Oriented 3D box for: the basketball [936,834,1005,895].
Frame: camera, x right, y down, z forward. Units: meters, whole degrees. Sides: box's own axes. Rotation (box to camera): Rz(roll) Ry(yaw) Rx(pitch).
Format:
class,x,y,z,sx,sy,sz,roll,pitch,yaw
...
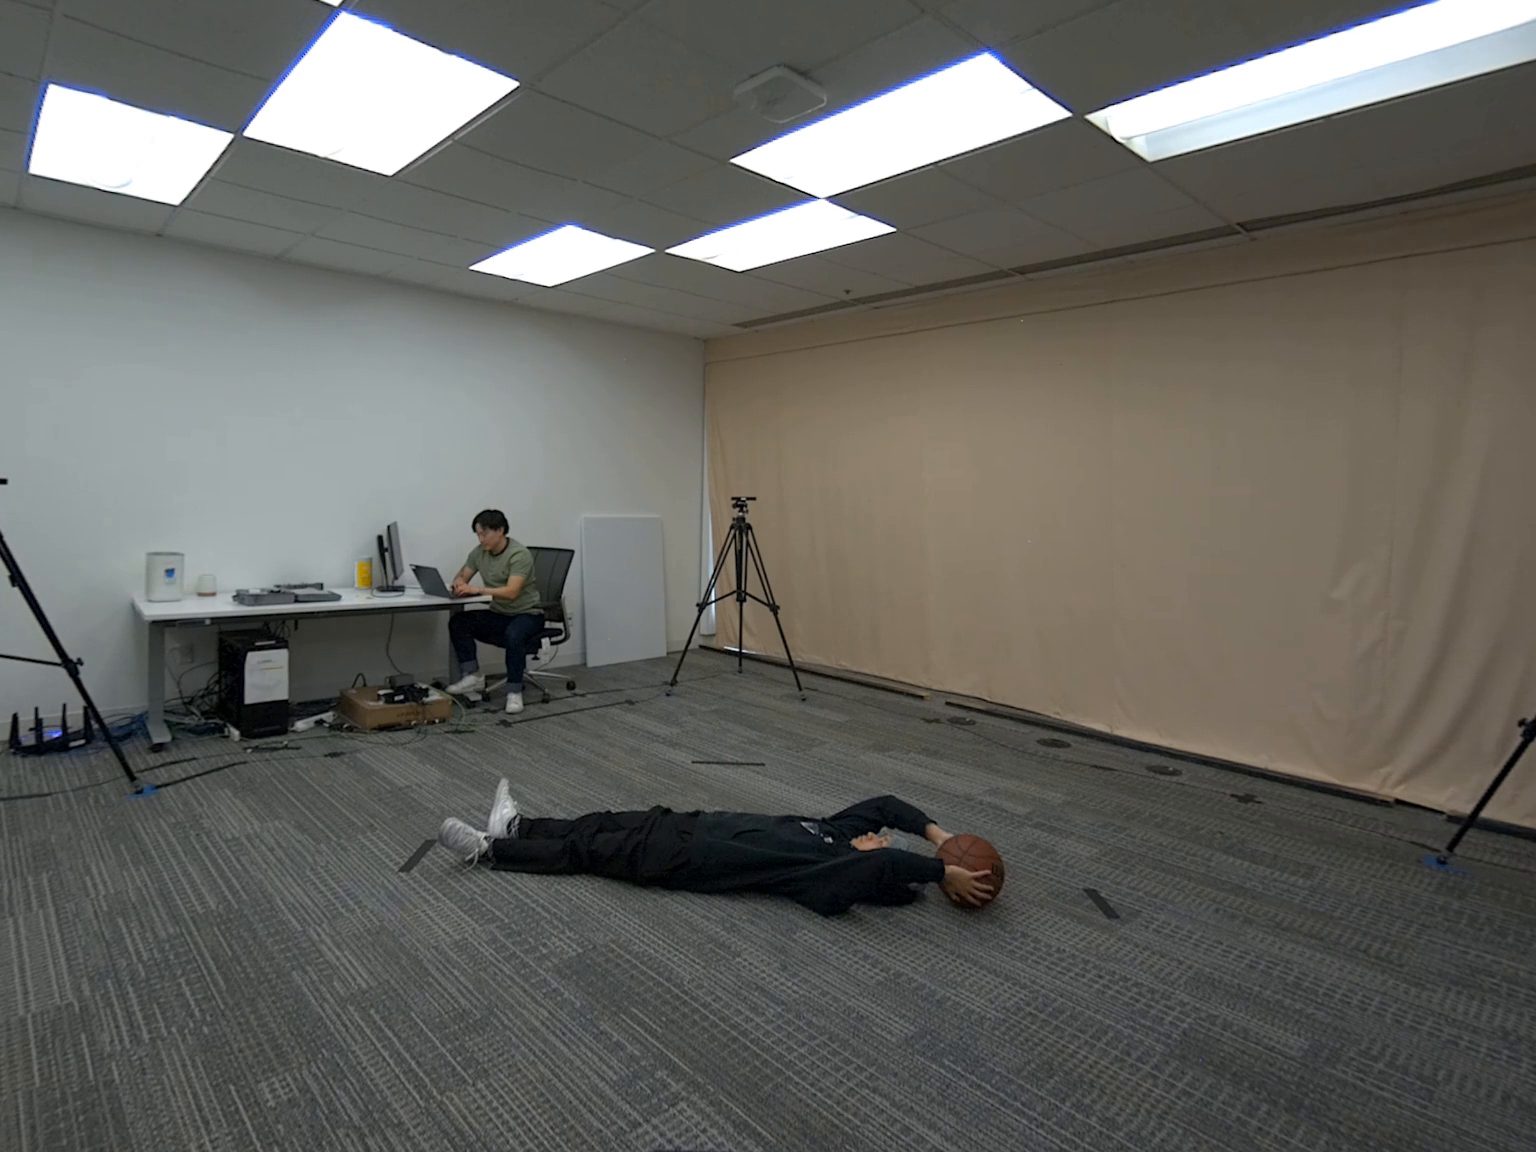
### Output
class,x,y,z,sx,sy,sz,roll,pitch,yaw
basketball,0.698,1.027,2.923,0.236,0.235,0.237,1,4,-1
